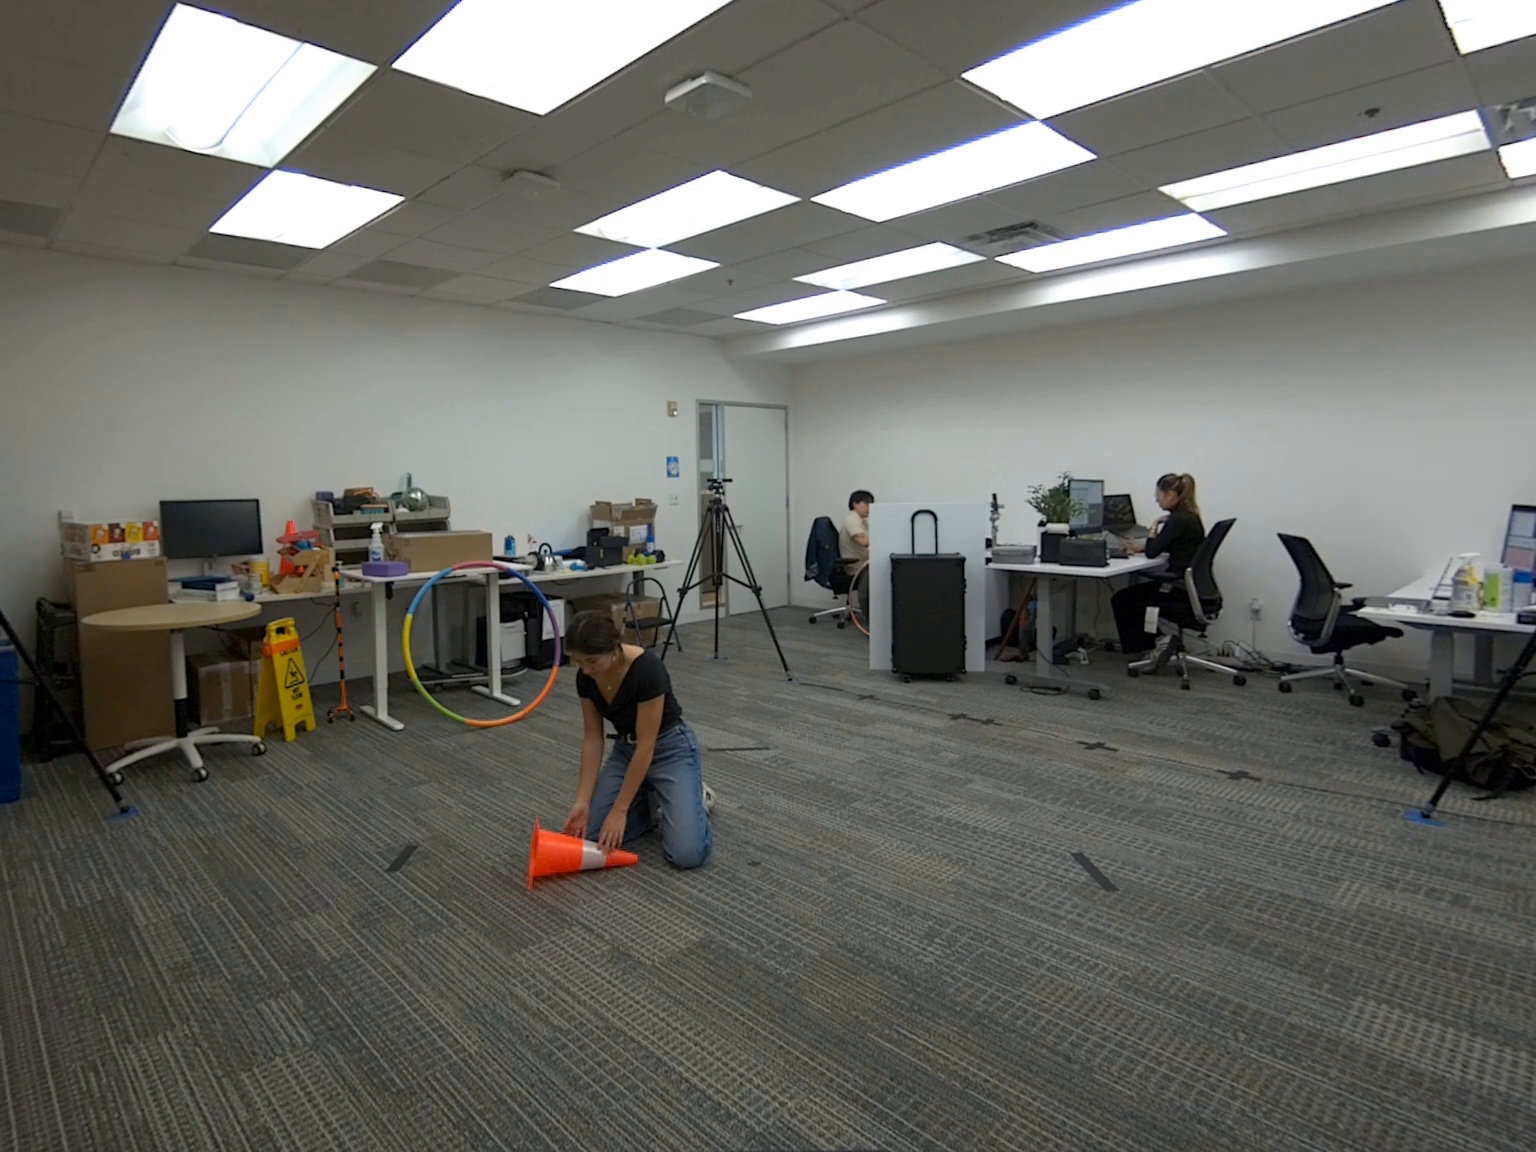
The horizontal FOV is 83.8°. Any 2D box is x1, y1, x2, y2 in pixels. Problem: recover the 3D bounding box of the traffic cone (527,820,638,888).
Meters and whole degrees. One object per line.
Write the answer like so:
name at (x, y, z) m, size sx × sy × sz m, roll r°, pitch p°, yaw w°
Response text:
traffic cone at (-0.651, 1.010, 3.081) m, size 0.376 × 0.204 × 0.209 m, roll 11°, pitch -2°, yaw -19°
